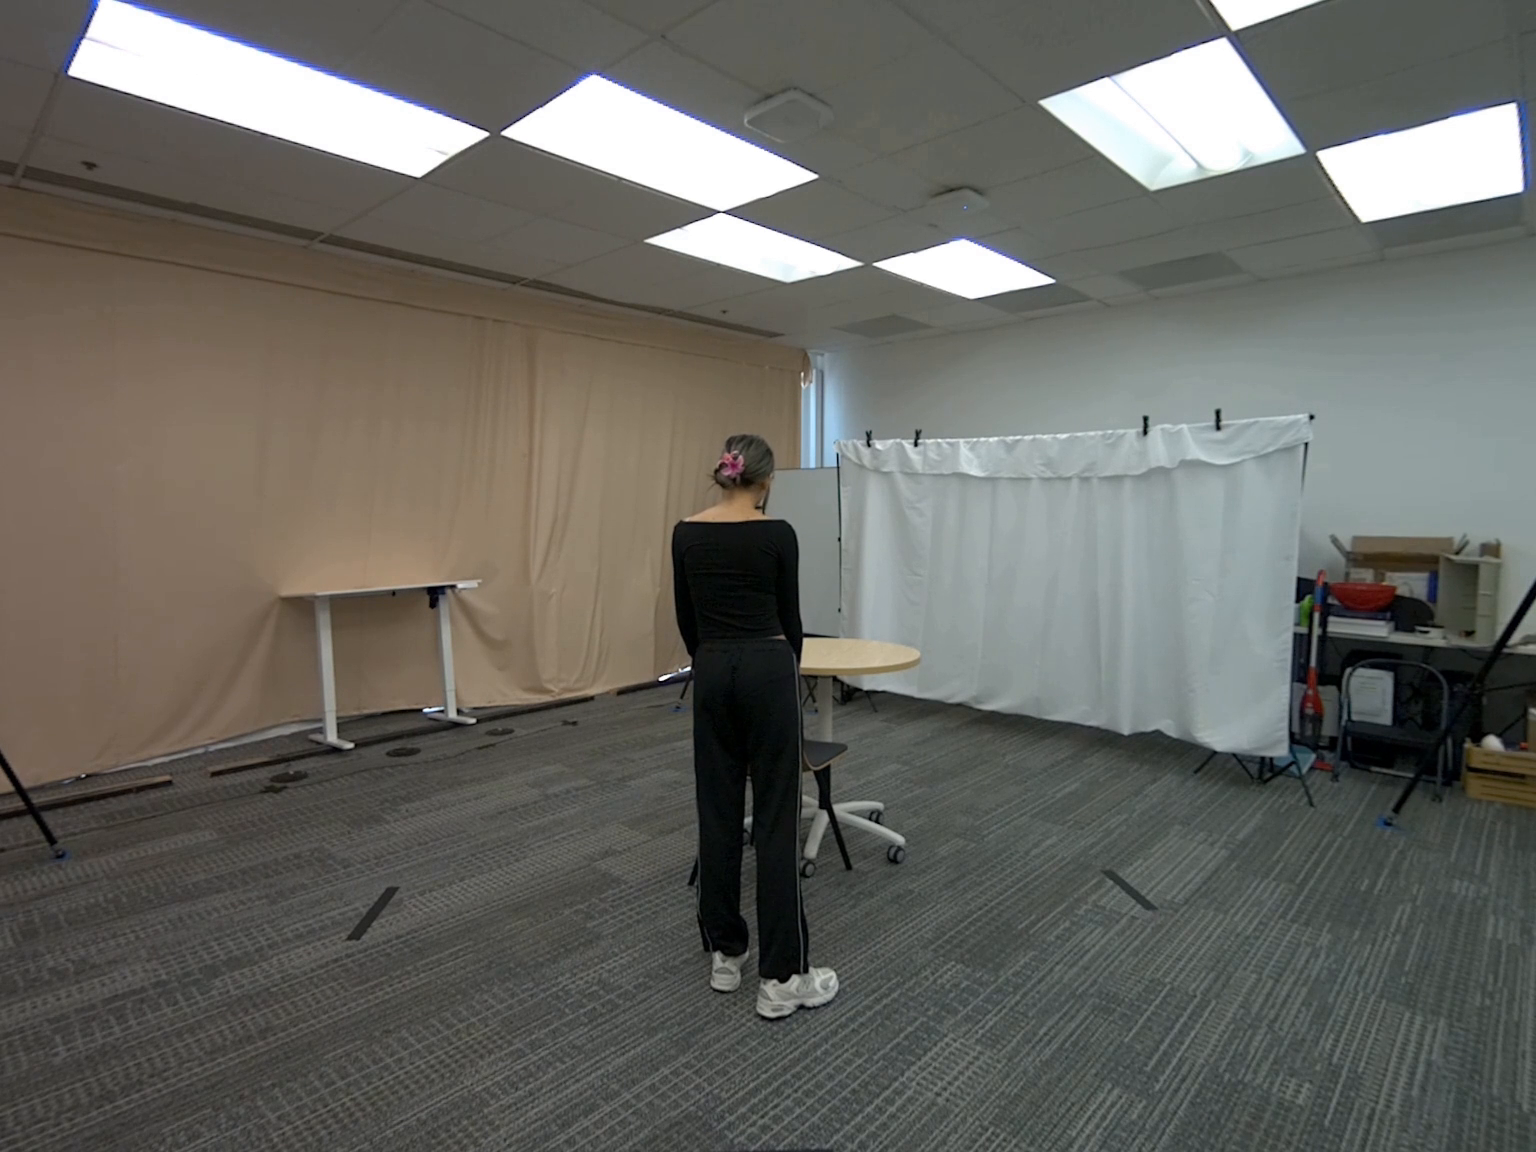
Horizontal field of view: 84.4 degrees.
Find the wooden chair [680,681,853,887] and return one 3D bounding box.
[{"bbox_3d":[0.017,0.701,3.126,0.492,0.873,0.510,1,8,33],"label":"wooden chair"}]
